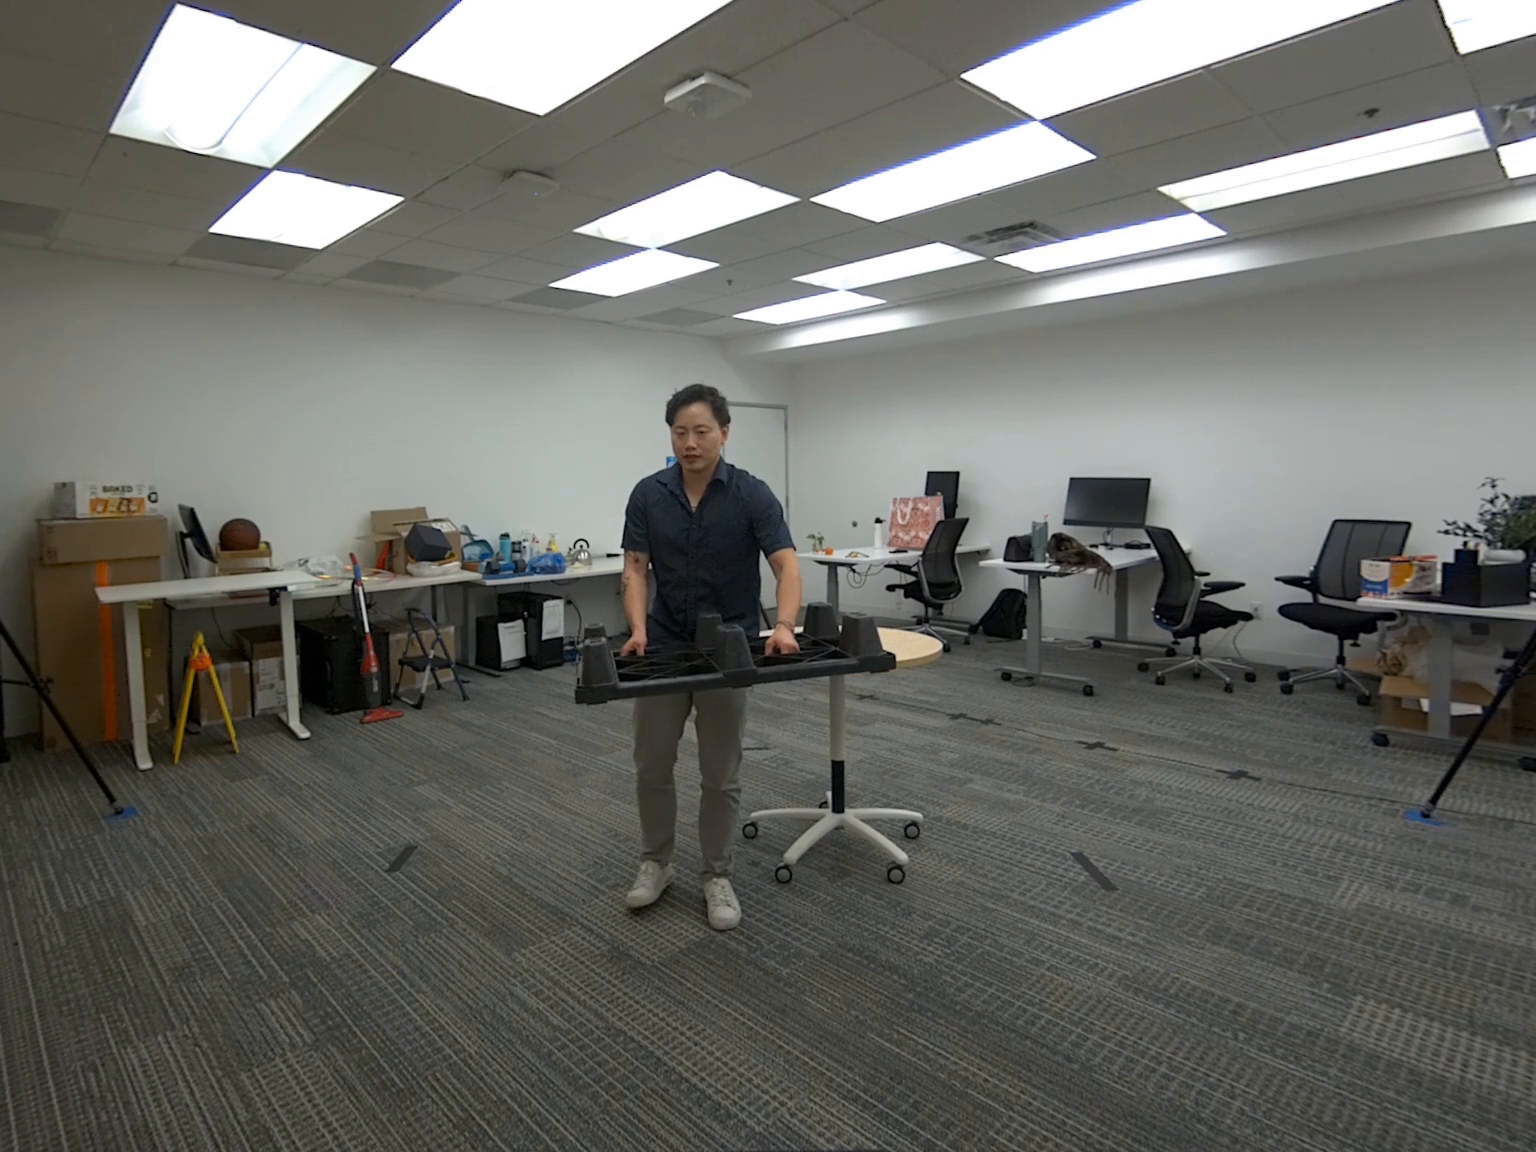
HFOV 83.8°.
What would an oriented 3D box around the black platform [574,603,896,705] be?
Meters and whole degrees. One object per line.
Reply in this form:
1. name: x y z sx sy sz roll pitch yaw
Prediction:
1. black platform: -0.129 0.196 2.344 0.798 0.143 0.611 -6 3 -10
